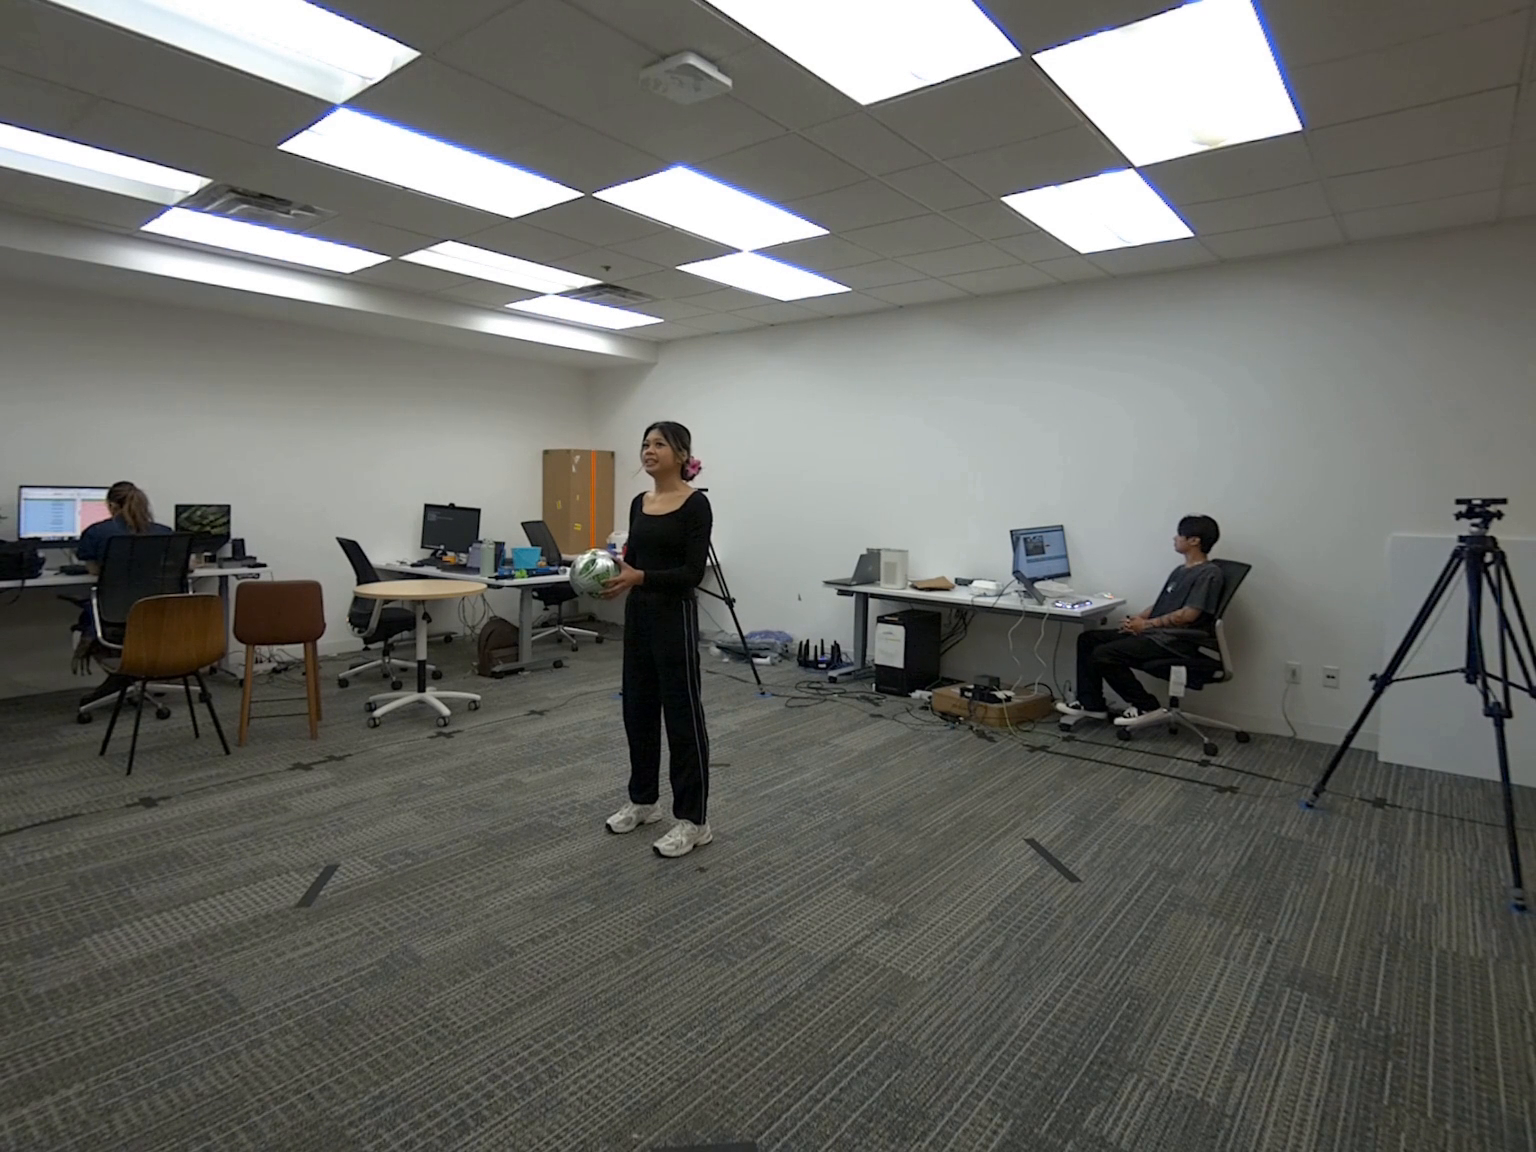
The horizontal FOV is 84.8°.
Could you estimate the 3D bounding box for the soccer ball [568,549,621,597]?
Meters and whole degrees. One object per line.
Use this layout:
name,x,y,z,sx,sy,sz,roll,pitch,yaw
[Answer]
soccer ball,-0.623,-0.002,3.050,0.187,0.187,0.188,1,4,-2
